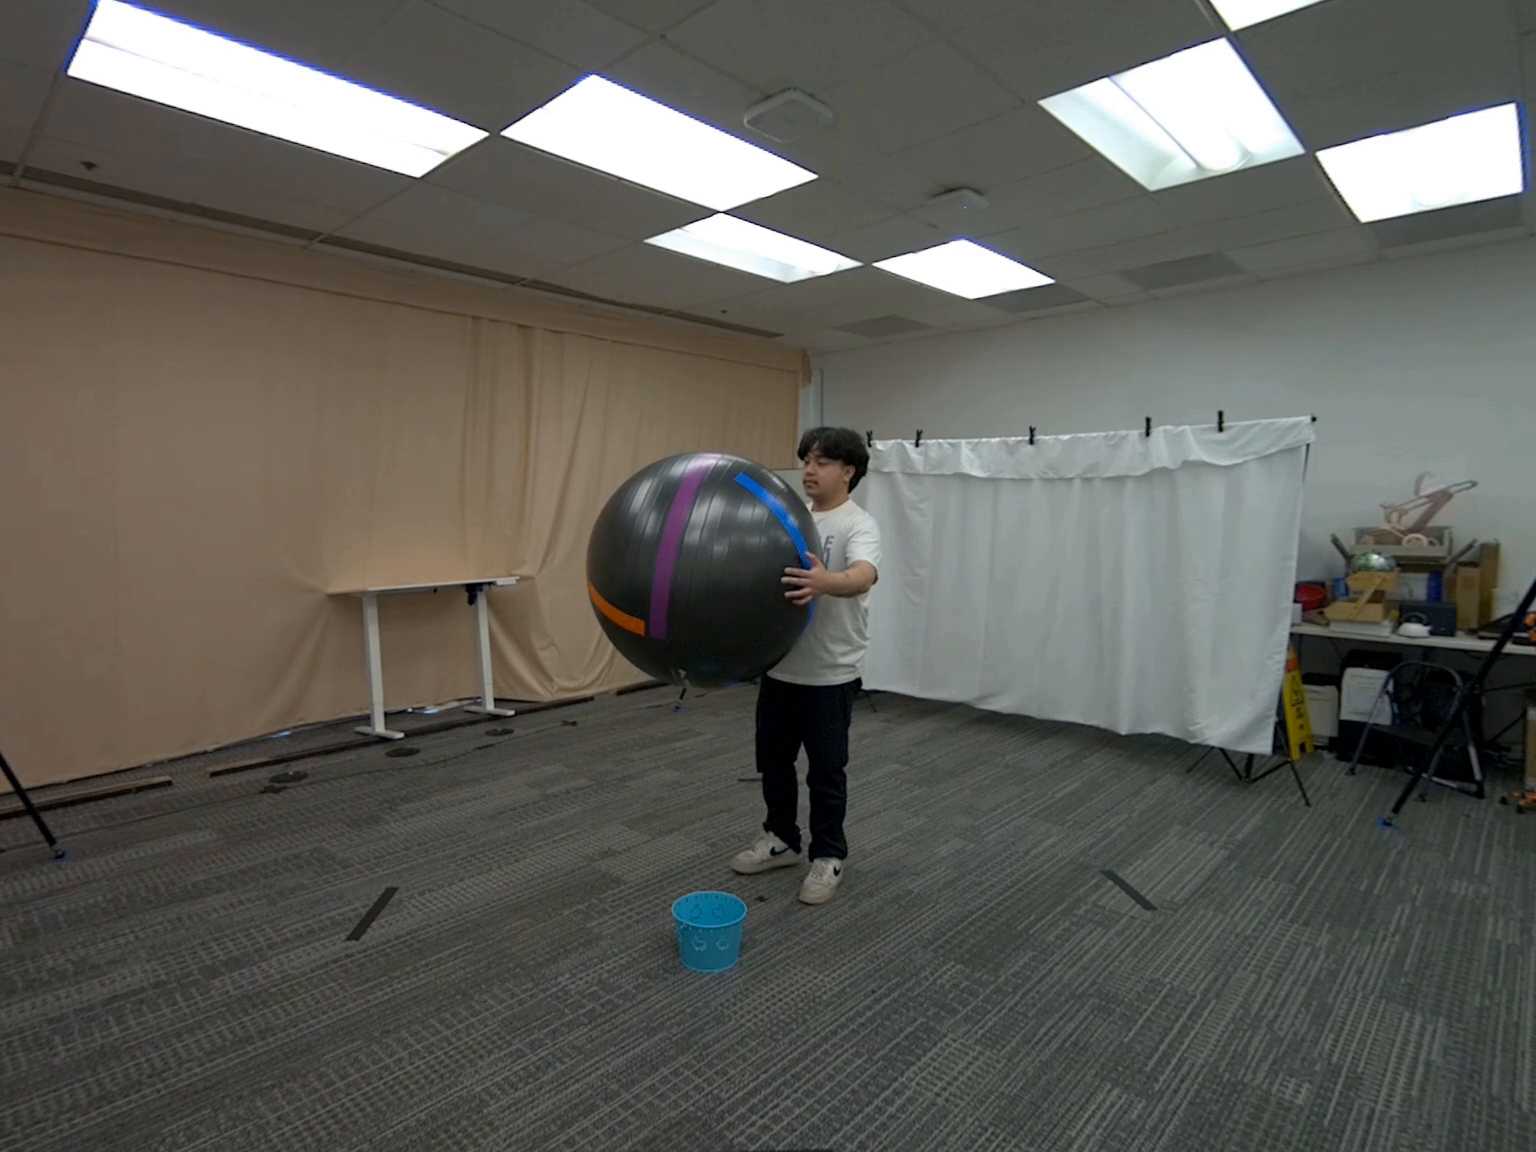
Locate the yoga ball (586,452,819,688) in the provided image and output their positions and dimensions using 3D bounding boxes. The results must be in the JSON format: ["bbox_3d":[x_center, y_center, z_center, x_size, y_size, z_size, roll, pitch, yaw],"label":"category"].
[{"bbox_3d":[-0.211,-0.014,2.694,0.757,0.756,0.760,0,4,-2],"label":"yoga ball"}]
